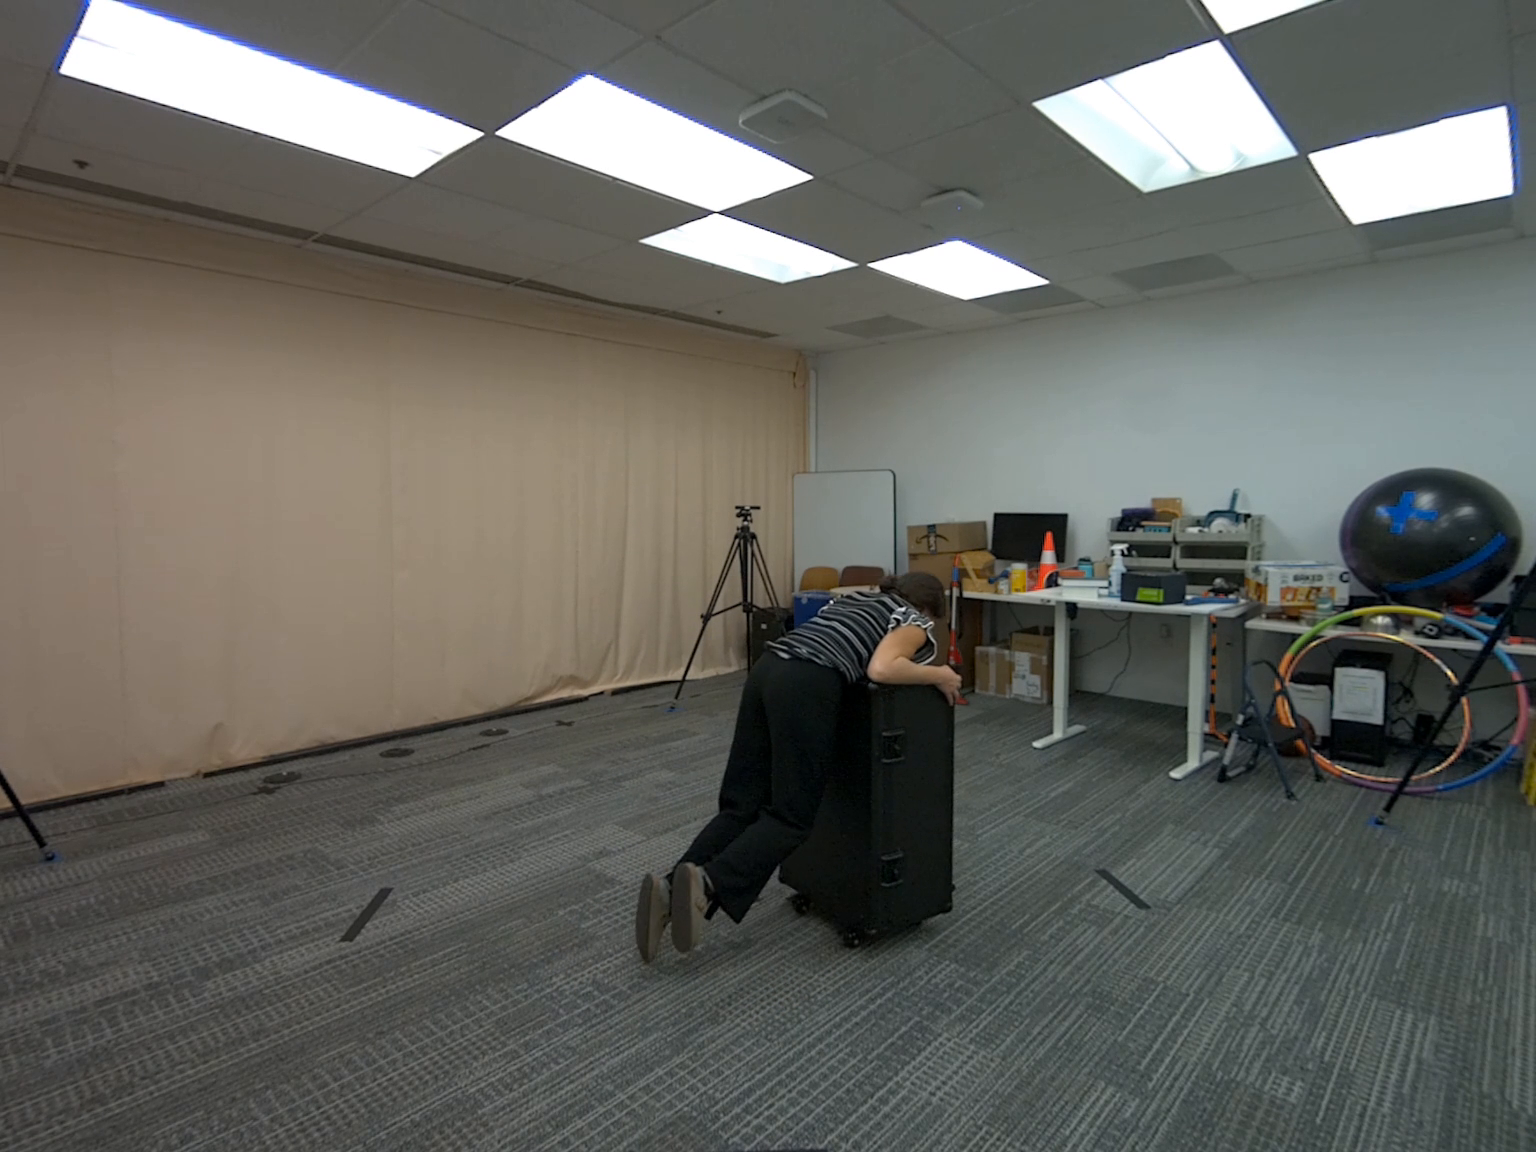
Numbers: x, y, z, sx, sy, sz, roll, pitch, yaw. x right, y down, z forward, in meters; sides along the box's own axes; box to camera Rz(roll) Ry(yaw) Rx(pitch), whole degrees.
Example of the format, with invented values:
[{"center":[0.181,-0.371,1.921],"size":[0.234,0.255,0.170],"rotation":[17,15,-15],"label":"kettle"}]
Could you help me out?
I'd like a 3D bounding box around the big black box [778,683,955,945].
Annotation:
[{"center":[0.325,0.740,2.849],"size":[0.385,0.860,0.537],"rotation":[-1,3,-33],"label":"big black box"}]
